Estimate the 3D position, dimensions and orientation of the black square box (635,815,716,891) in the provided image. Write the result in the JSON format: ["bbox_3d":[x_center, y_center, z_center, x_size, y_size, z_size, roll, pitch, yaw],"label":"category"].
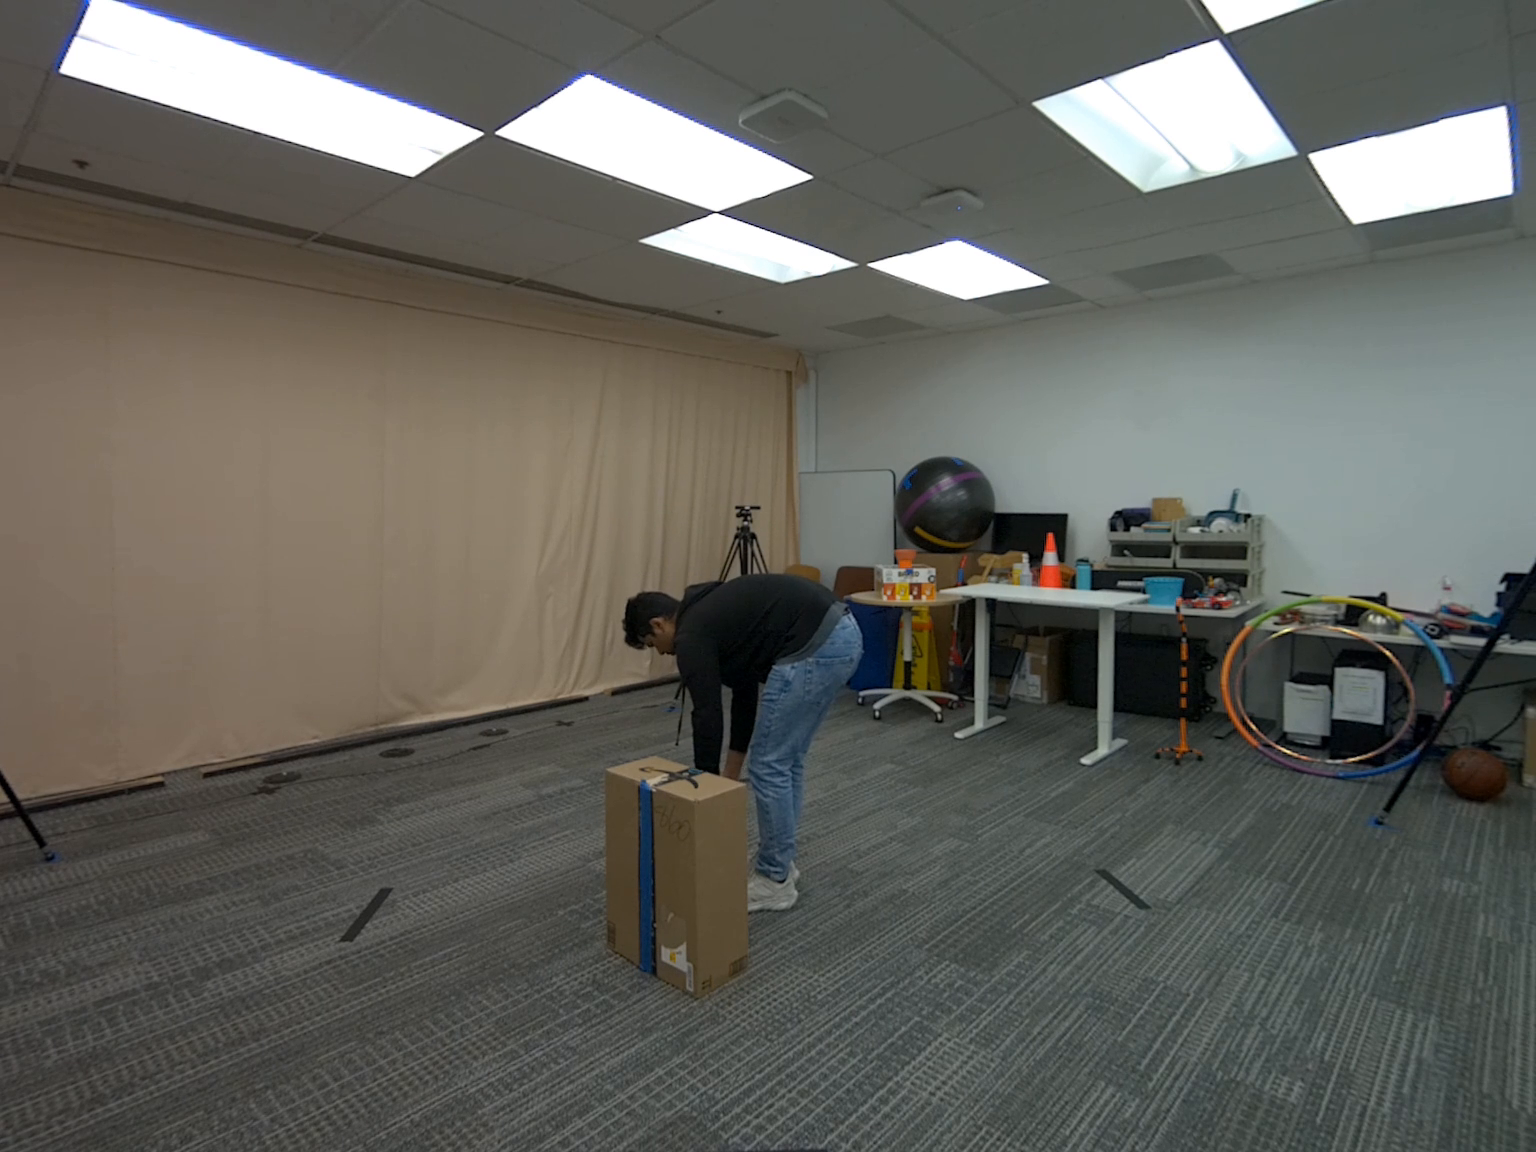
[{"bbox_3d":[-0.347,1.033,3.182,0.222,0.155,0.223,2,6,23],"label":"black square box"}]
